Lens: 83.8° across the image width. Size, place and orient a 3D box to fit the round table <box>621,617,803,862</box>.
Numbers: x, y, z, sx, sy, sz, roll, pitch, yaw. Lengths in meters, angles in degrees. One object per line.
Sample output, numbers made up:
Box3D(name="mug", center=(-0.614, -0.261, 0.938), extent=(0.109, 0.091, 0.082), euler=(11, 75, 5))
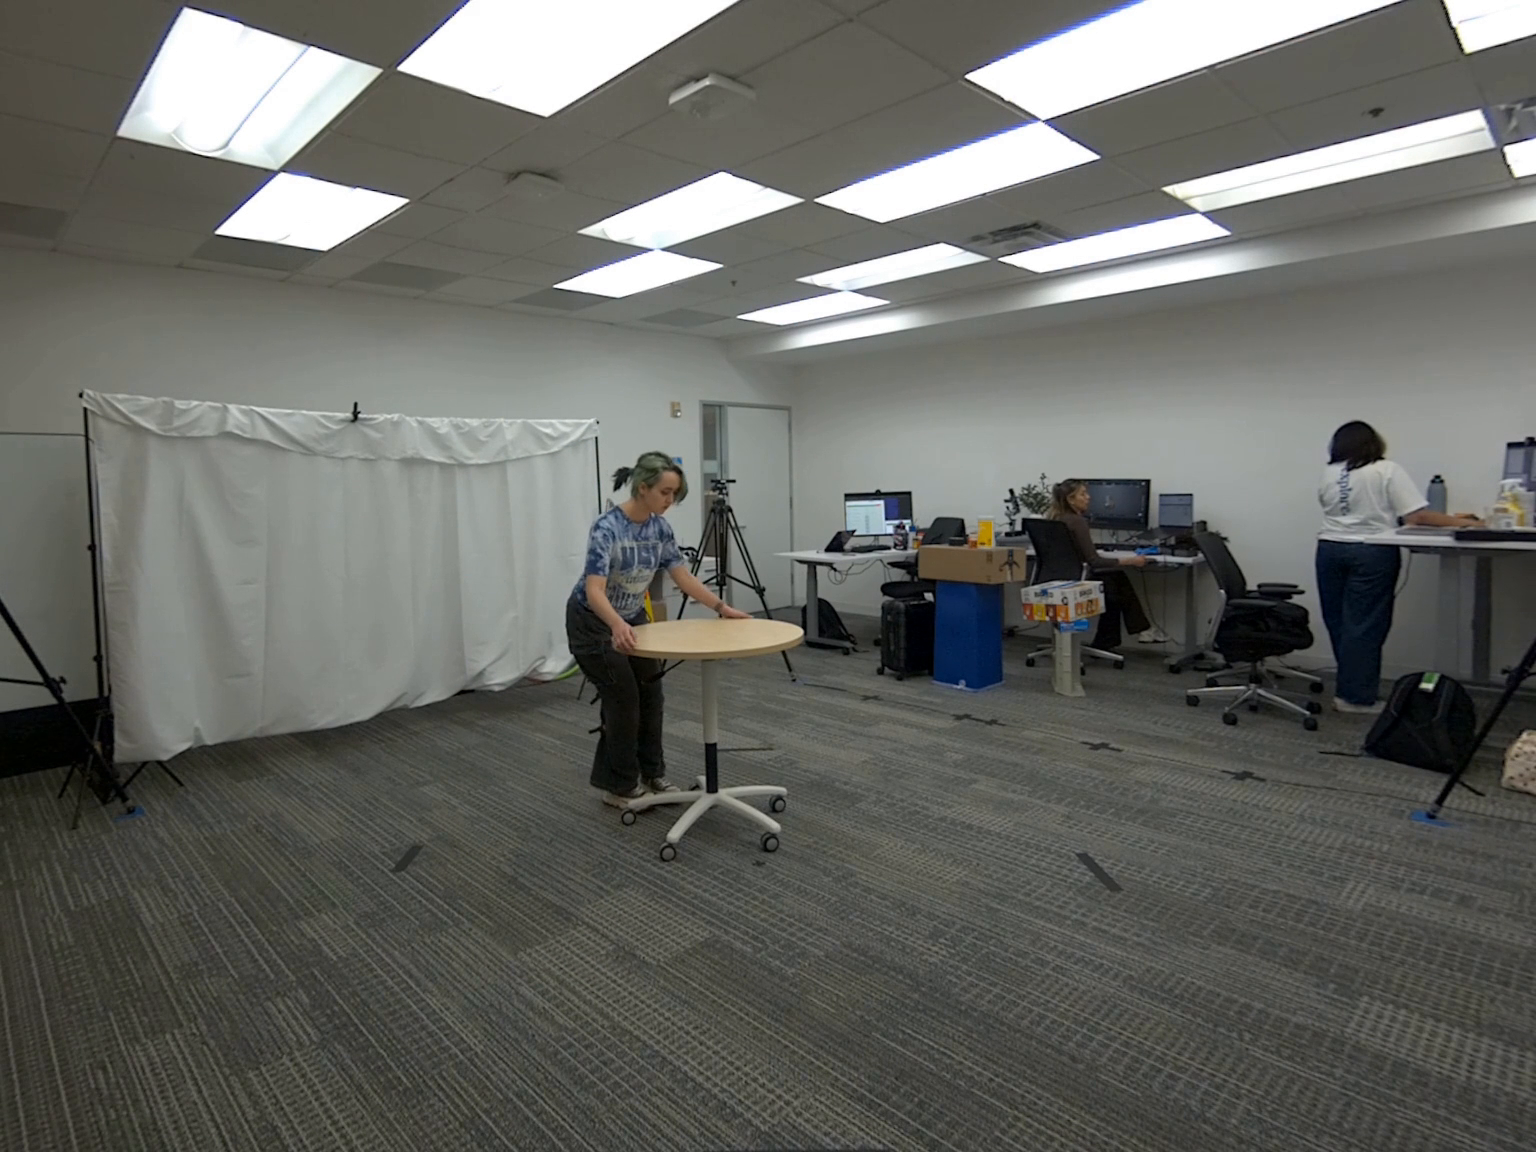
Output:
Box3D(name="round table", center=(-0.226, 0.625, 3.430), extent=(0.763, 0.791, 0.768), euler=(-2, 5, -2))
